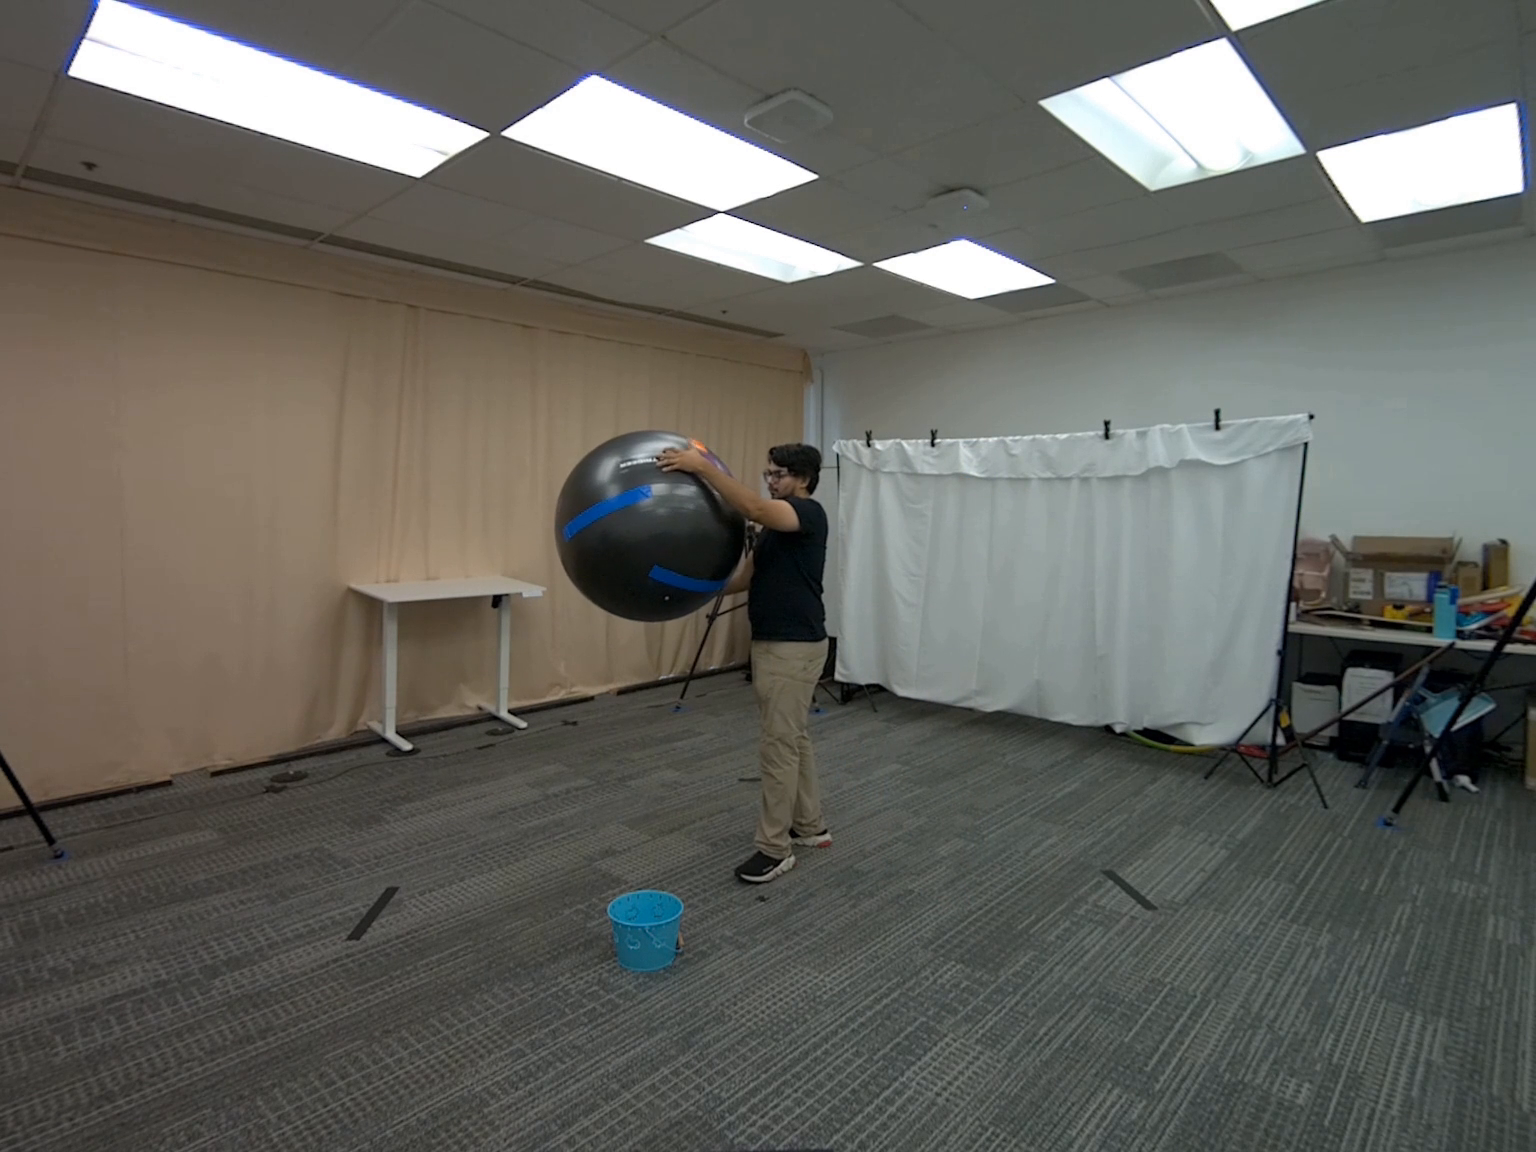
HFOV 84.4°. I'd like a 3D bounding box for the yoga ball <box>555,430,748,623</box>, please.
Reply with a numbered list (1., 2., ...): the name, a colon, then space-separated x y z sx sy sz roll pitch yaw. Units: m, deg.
1. yoga ball: -0.478 -0.197 3.346 0.757 0.756 0.760 0 4 -2
